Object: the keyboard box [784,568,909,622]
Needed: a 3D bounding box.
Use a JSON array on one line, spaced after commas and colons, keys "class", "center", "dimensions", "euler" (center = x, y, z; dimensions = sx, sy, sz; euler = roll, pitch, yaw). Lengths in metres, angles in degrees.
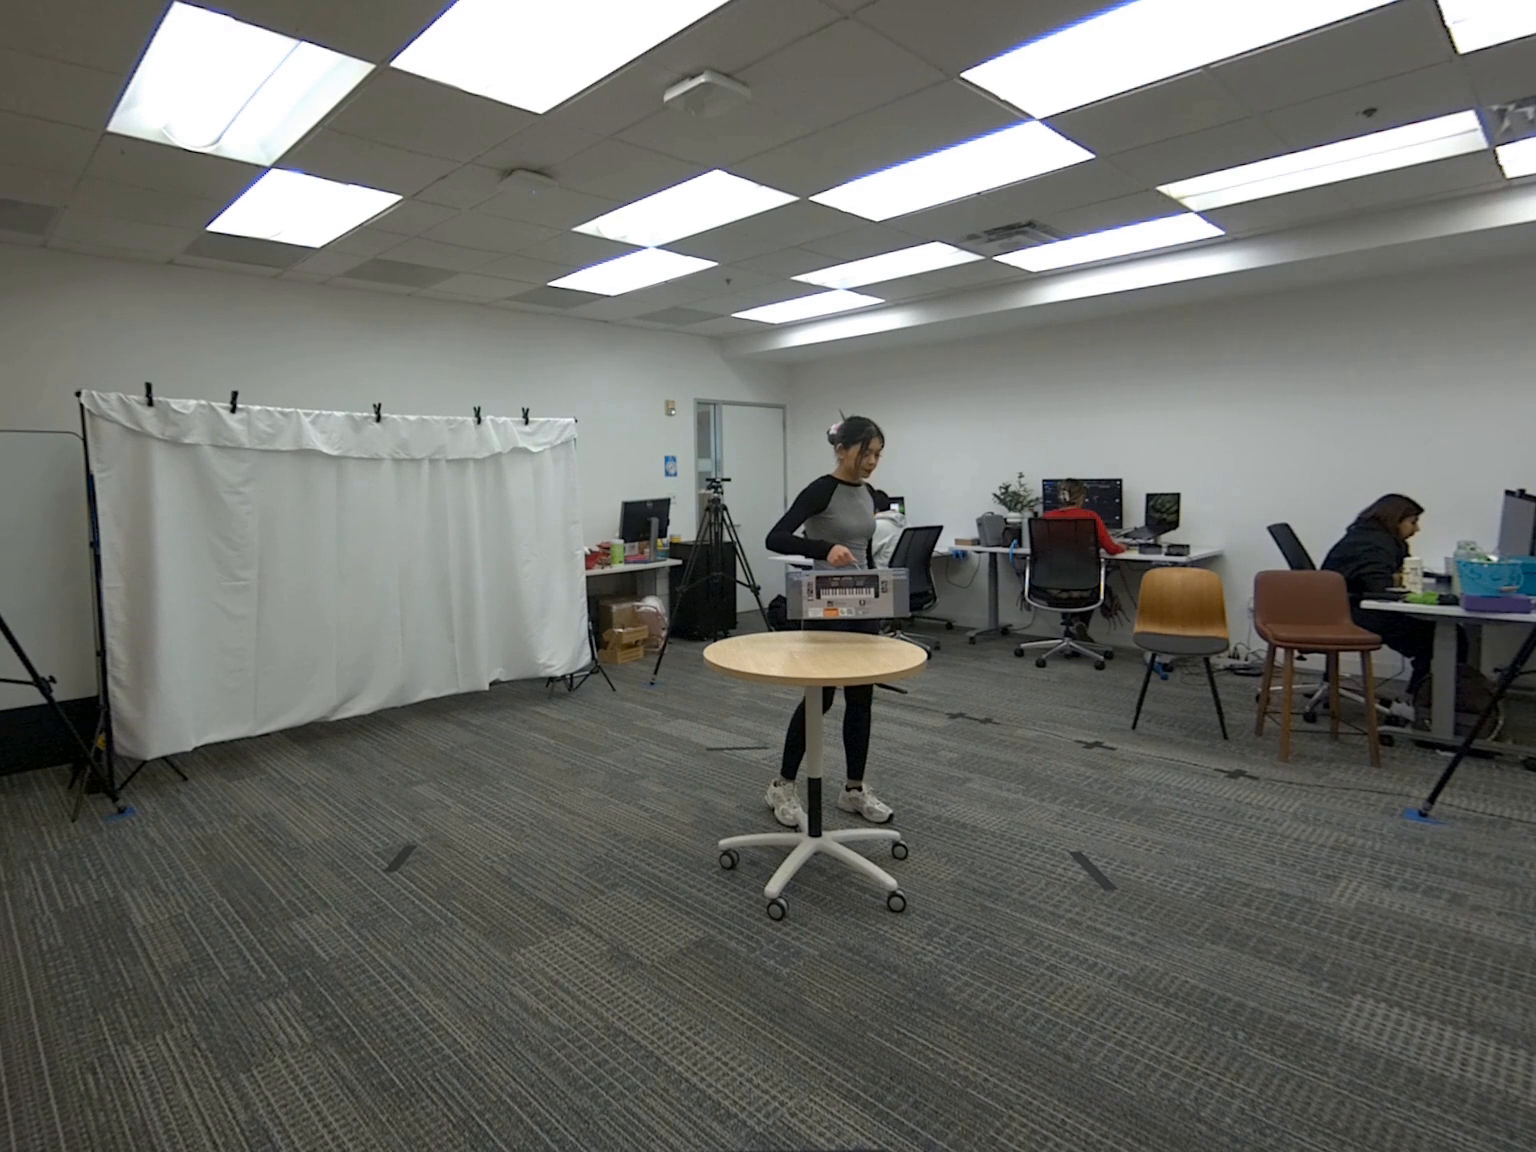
[{"class": "keyboard box", "center": [0.291, 0.075, 3.104], "dimensions": [0.438, 0.175, 0.059], "euler": [1, 2, 3]}]
